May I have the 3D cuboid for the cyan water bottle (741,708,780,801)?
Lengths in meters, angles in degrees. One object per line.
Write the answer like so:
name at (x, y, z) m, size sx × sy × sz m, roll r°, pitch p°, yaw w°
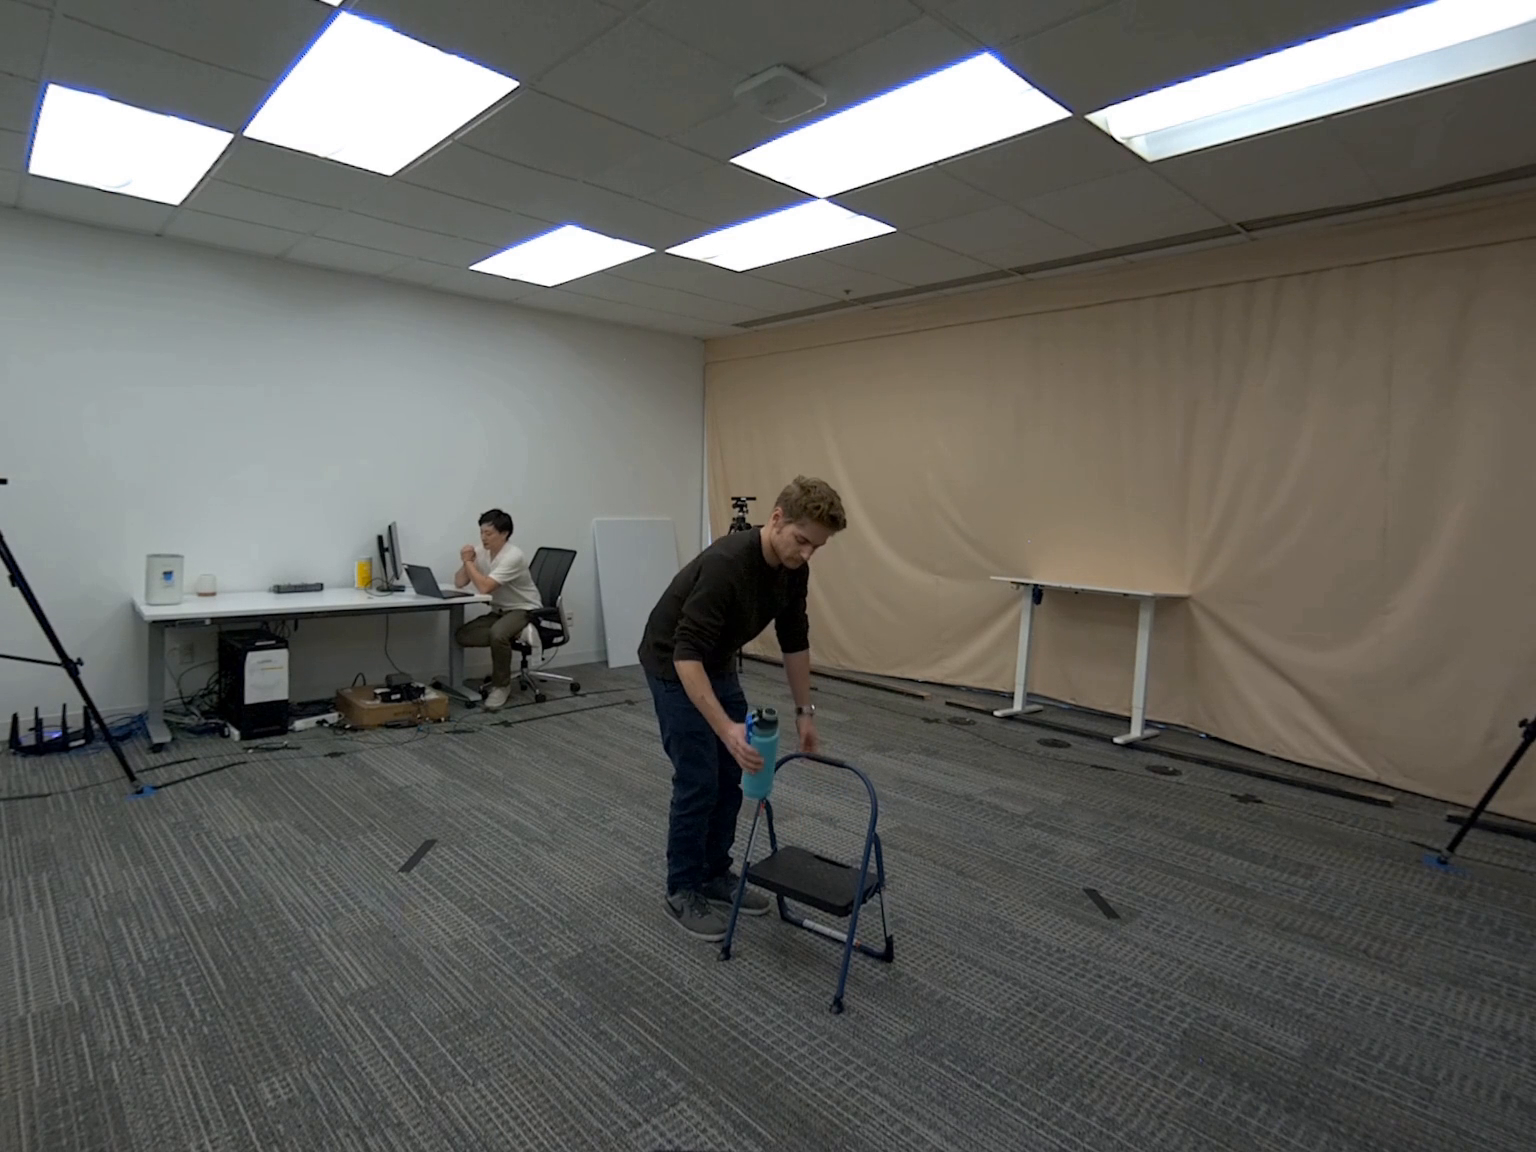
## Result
cyan water bottle at (-0.020, 0.492, 2.306) m, size 0.092 × 0.278 × 0.094 m, roll 1°, pitch 32°, yaw -2°
